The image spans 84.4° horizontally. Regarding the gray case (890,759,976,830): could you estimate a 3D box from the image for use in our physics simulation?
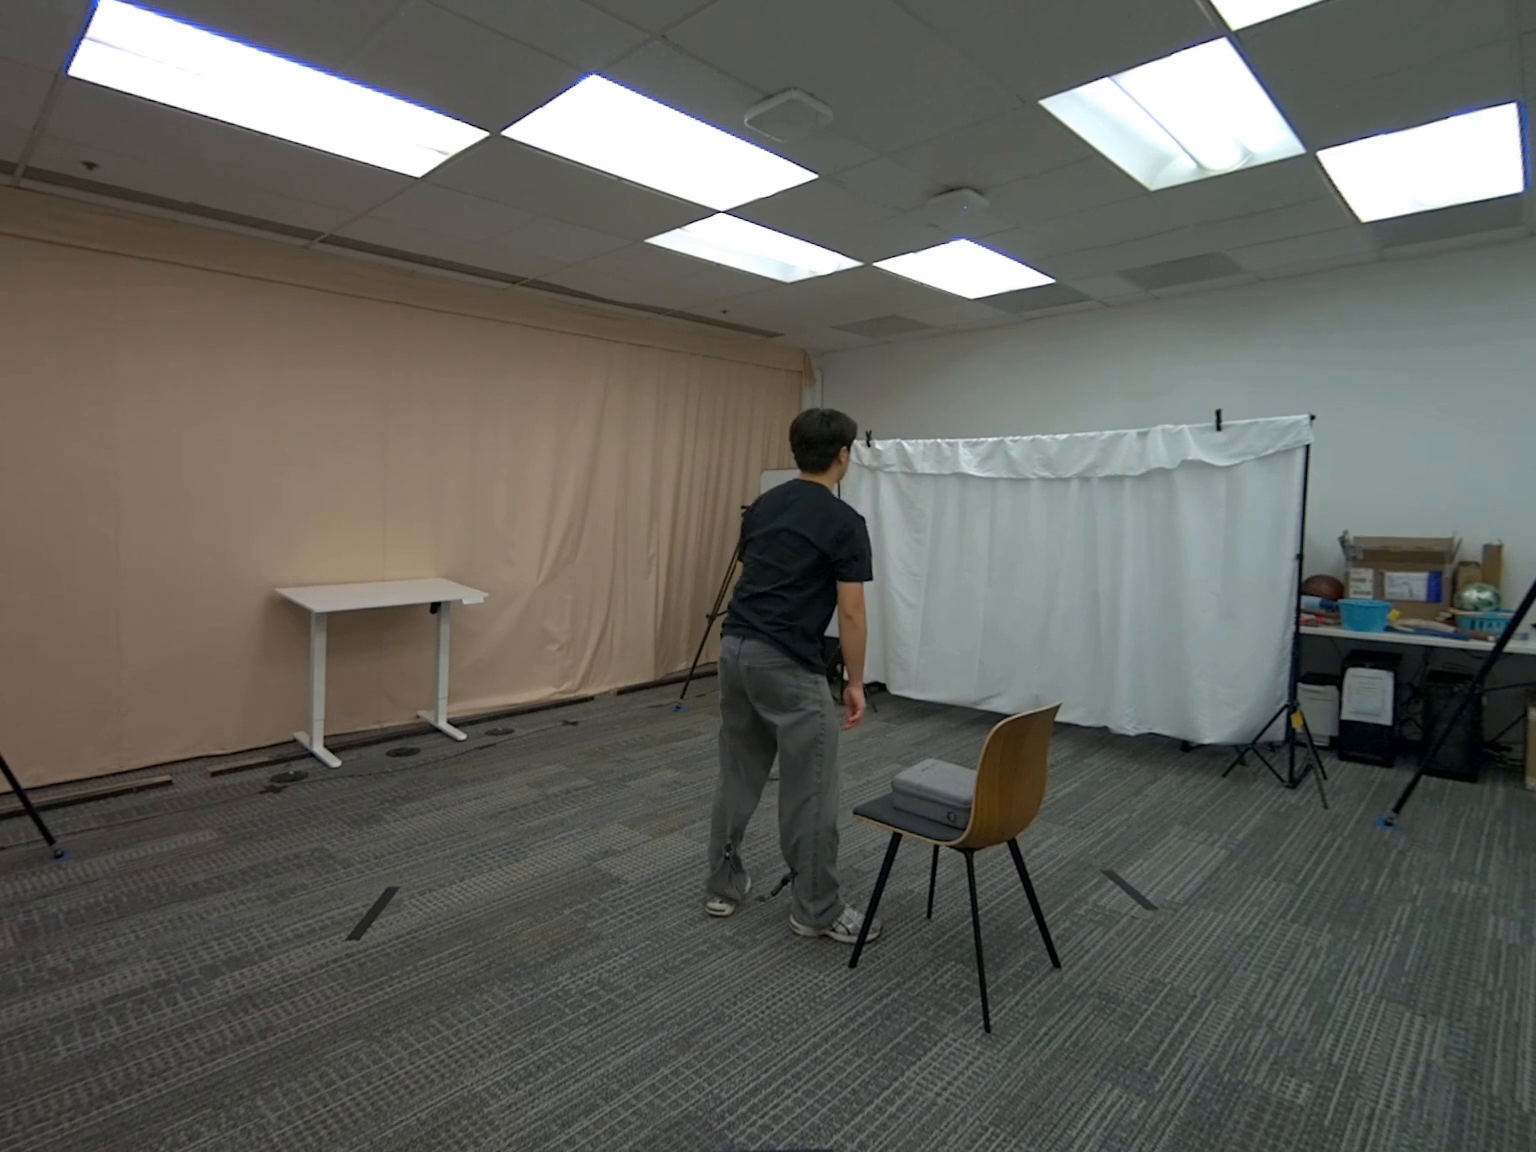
[{"bbox_3d":[0.555,0.654,2.521,0.297,0.102,0.255,8,9,38],"label":"gray case"}]
